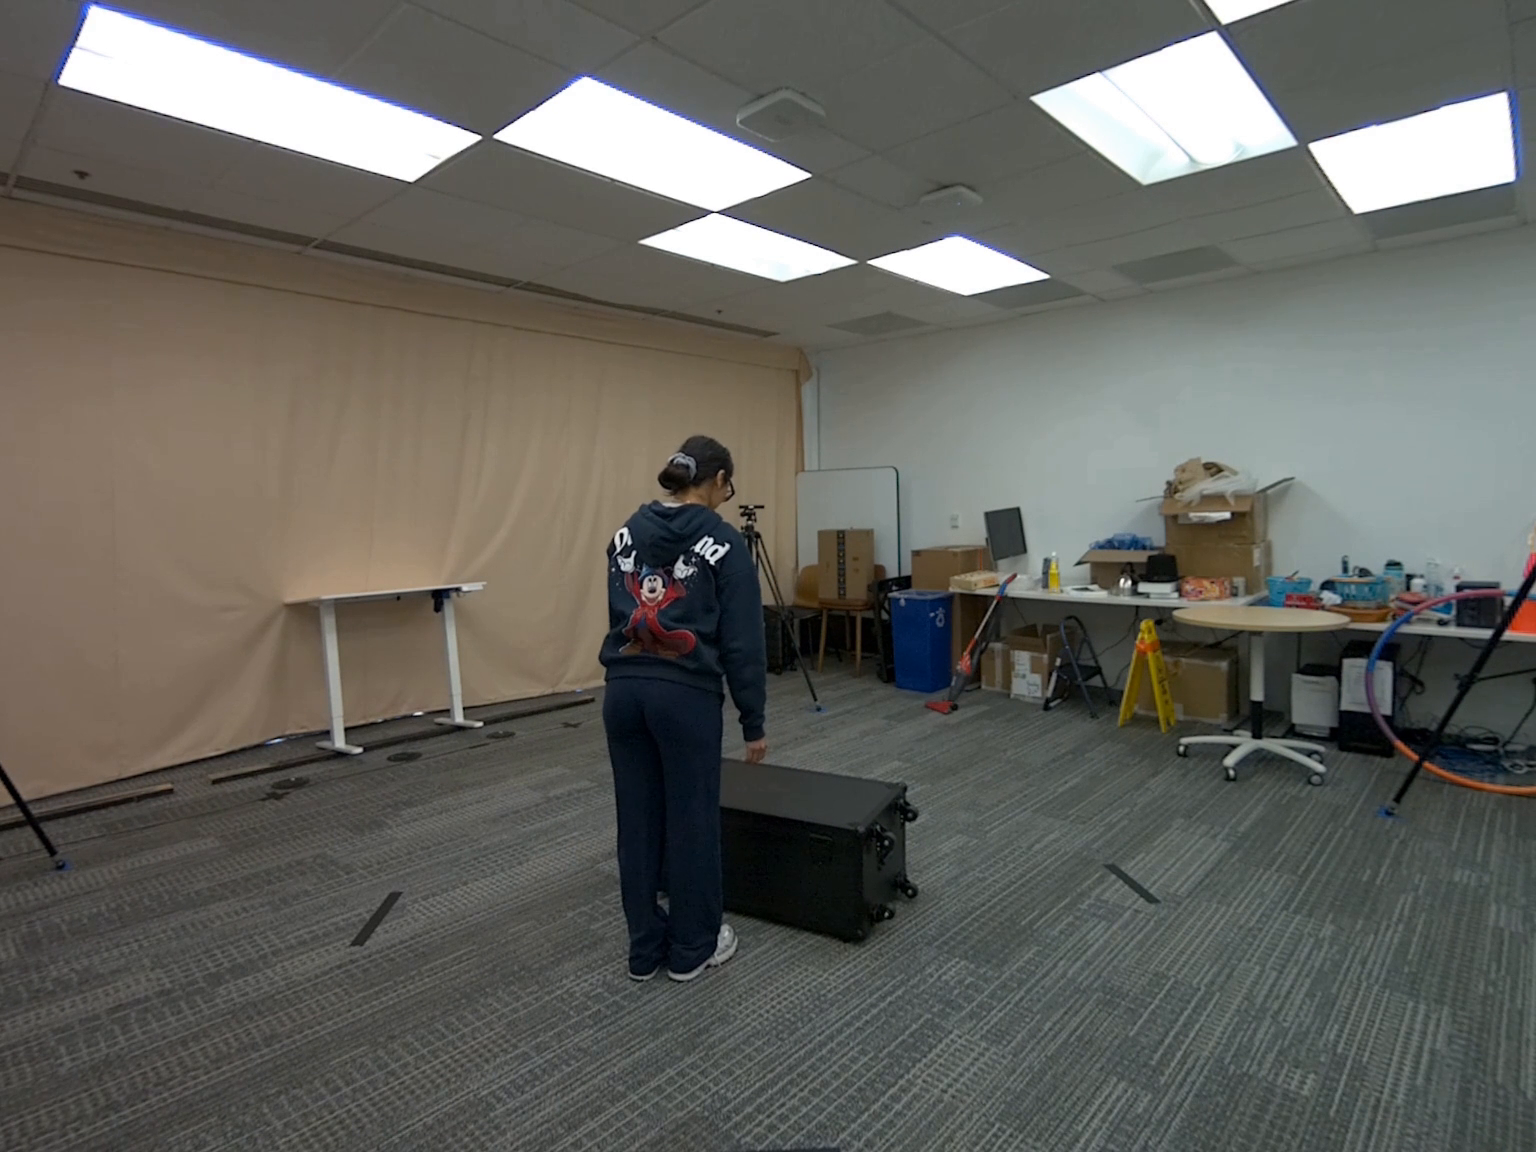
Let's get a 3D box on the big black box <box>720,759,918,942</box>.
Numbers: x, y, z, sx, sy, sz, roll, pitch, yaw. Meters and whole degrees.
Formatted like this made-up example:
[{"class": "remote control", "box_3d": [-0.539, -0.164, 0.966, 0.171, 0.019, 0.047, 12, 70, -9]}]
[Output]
[{"class": "big black box", "box_3d": [0.081, 0.947, 3.002, 0.885, 0.395, 0.509, 1, 5, 27]}]
